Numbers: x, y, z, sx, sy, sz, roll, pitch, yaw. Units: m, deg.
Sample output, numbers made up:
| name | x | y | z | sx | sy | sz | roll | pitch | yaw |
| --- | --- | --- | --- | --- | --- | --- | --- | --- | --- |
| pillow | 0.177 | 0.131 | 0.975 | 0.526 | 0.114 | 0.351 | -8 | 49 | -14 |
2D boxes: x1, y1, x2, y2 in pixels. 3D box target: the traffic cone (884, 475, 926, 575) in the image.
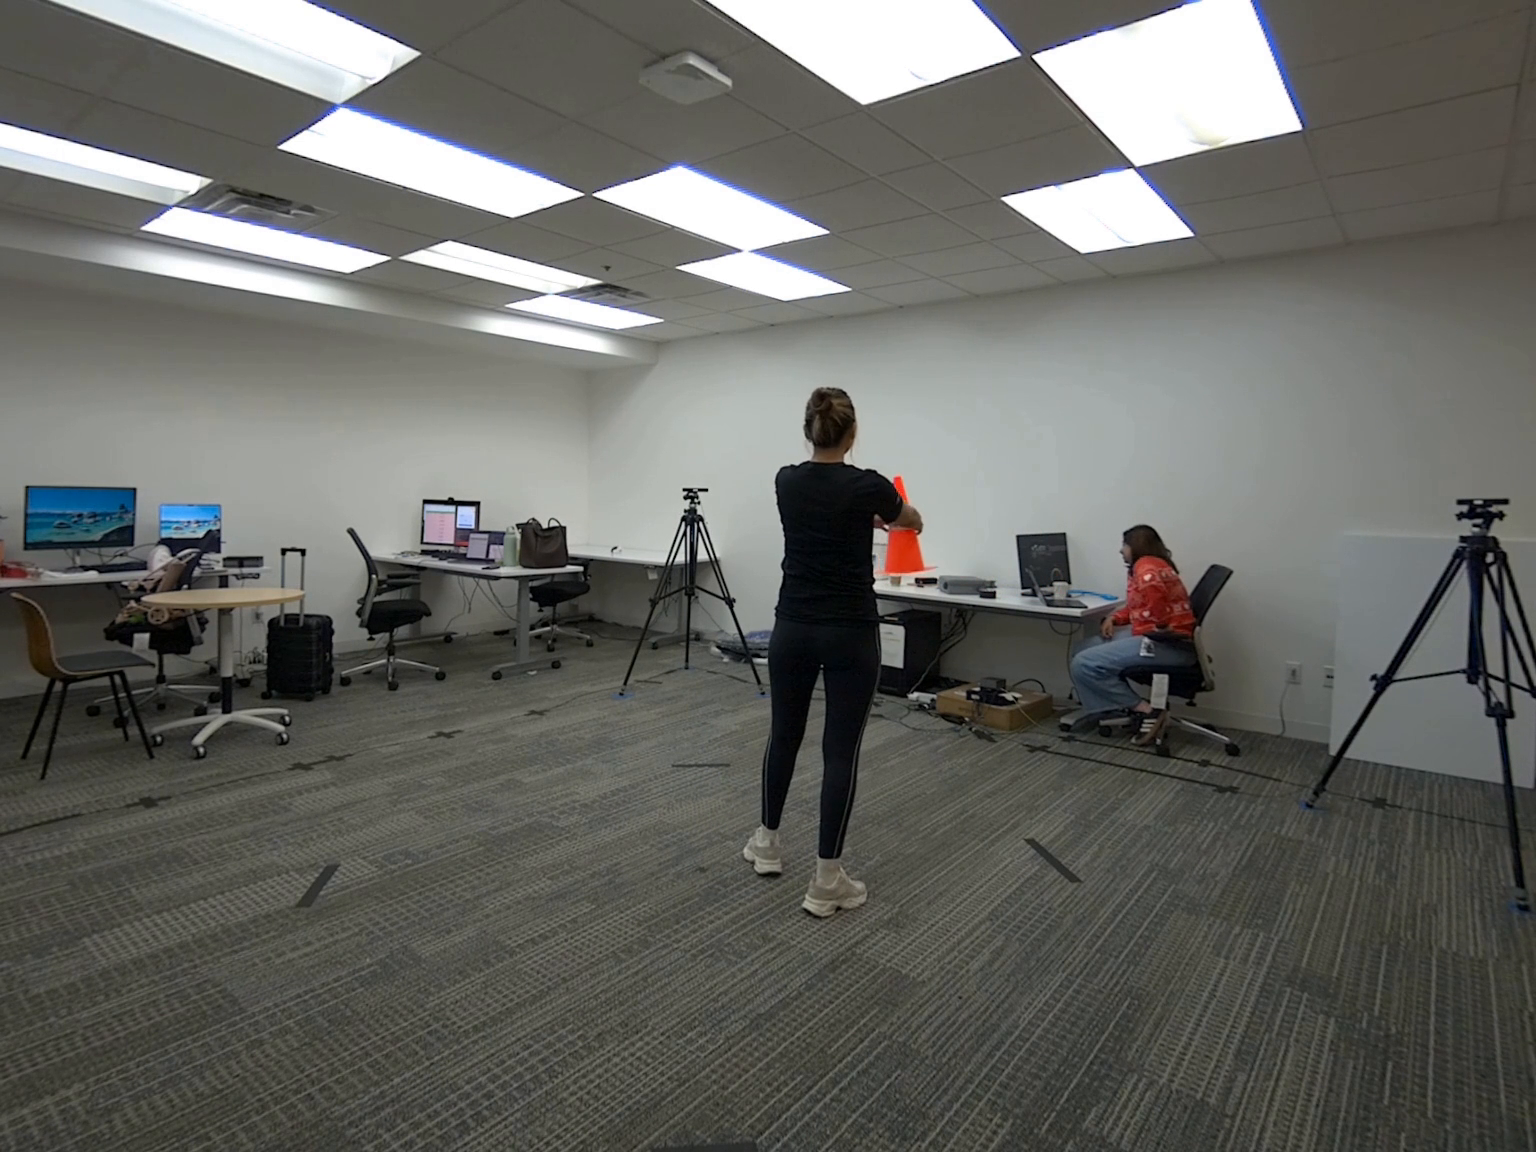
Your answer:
| name | x | y | z | sx | sy | sz | roll | pitch | yaw |
| --- | --- | --- | --- | --- | --- | --- | --- | --- | --- |
| traffic cone | 0.521 | -0.212 | 3.403 | 0.209 | 0.381 | 0.201 | -4 | 7 | 30 |
